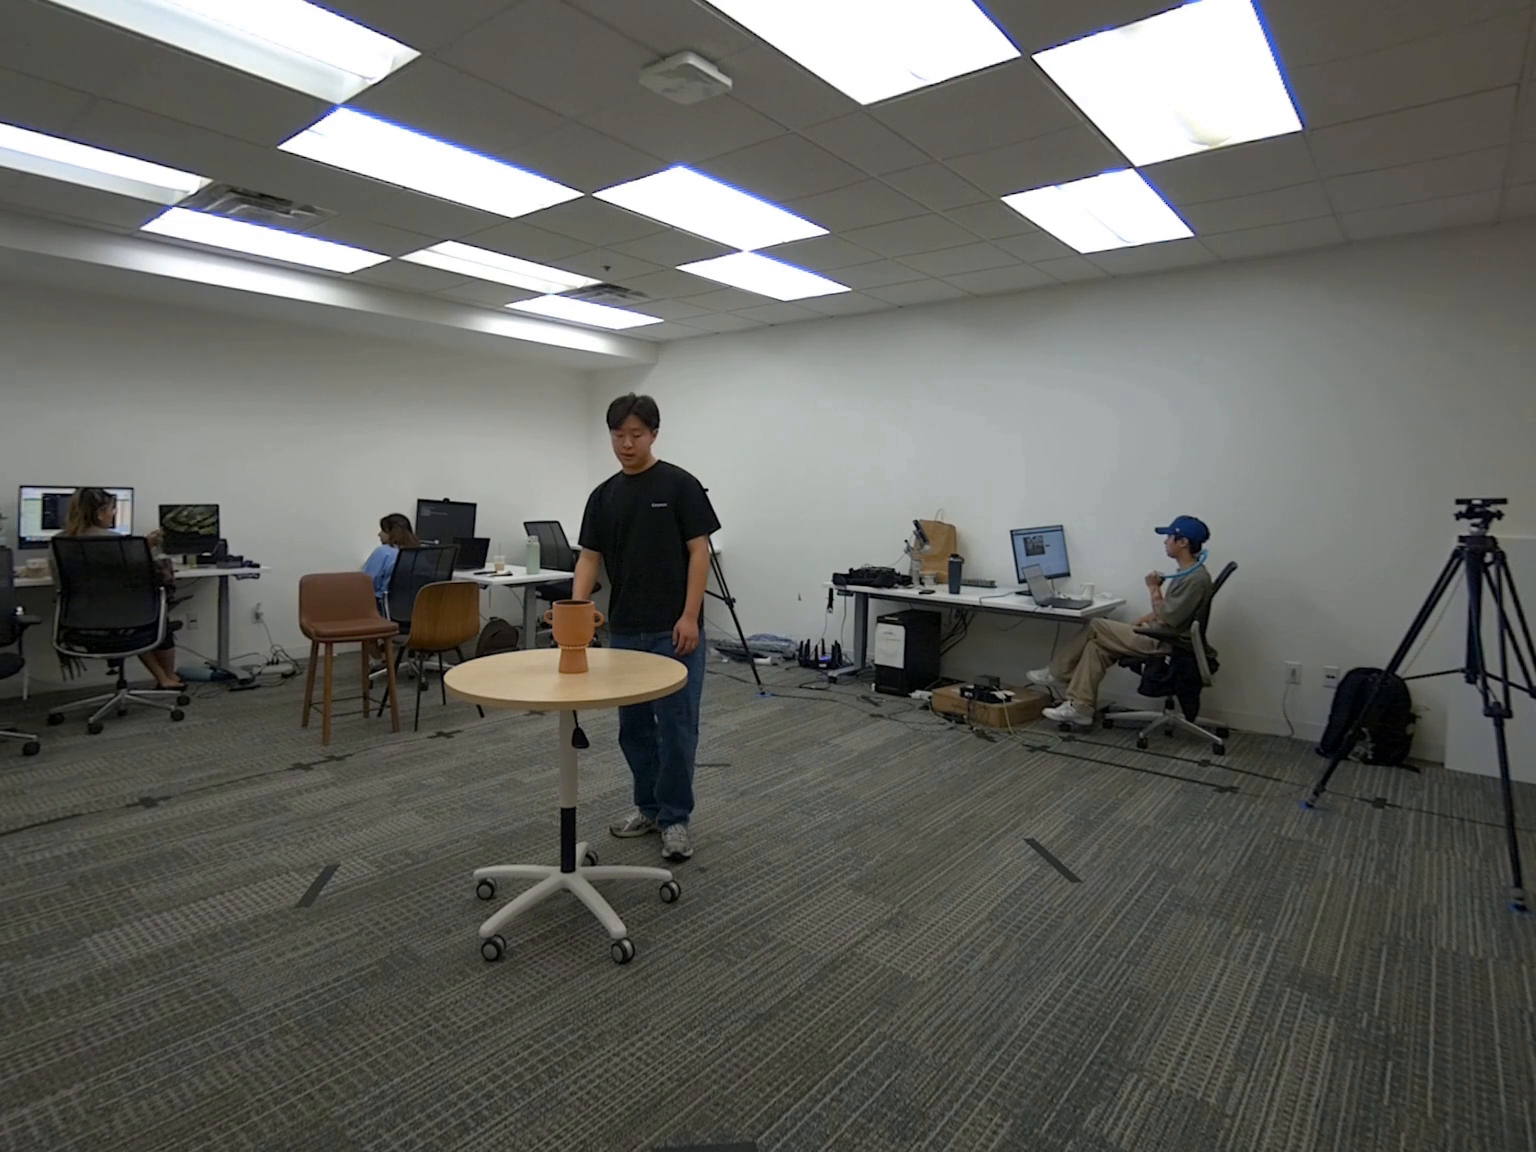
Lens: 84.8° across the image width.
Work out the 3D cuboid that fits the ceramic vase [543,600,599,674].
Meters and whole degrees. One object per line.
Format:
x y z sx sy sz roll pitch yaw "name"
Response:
-0.646 0.192 2.739 0.131 0.219 0.164 -5 5 -43 "ceramic vase"
